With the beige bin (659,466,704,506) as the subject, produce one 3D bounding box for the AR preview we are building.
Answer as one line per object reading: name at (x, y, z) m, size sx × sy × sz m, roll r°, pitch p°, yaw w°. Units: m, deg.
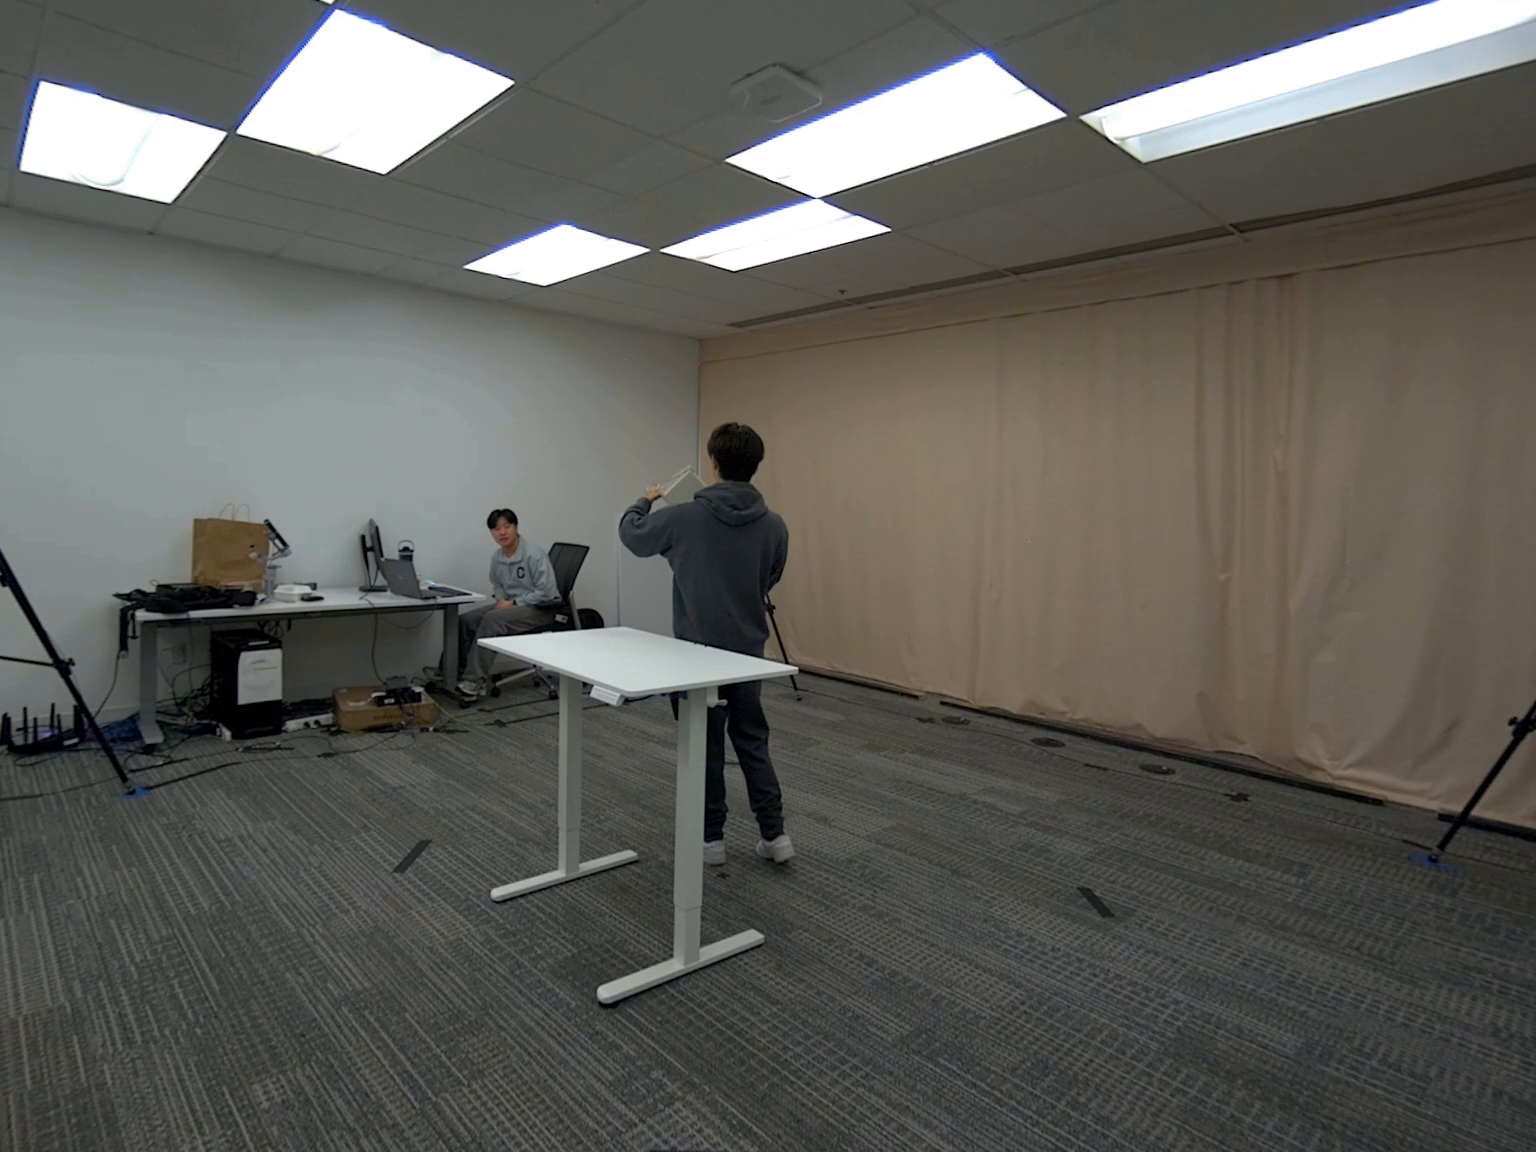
beige bin at (-0.302, -0.239, 3.611) m, size 0.189 × 0.418 × 0.382 m, roll -46°, pitch 11°, yaw -15°
